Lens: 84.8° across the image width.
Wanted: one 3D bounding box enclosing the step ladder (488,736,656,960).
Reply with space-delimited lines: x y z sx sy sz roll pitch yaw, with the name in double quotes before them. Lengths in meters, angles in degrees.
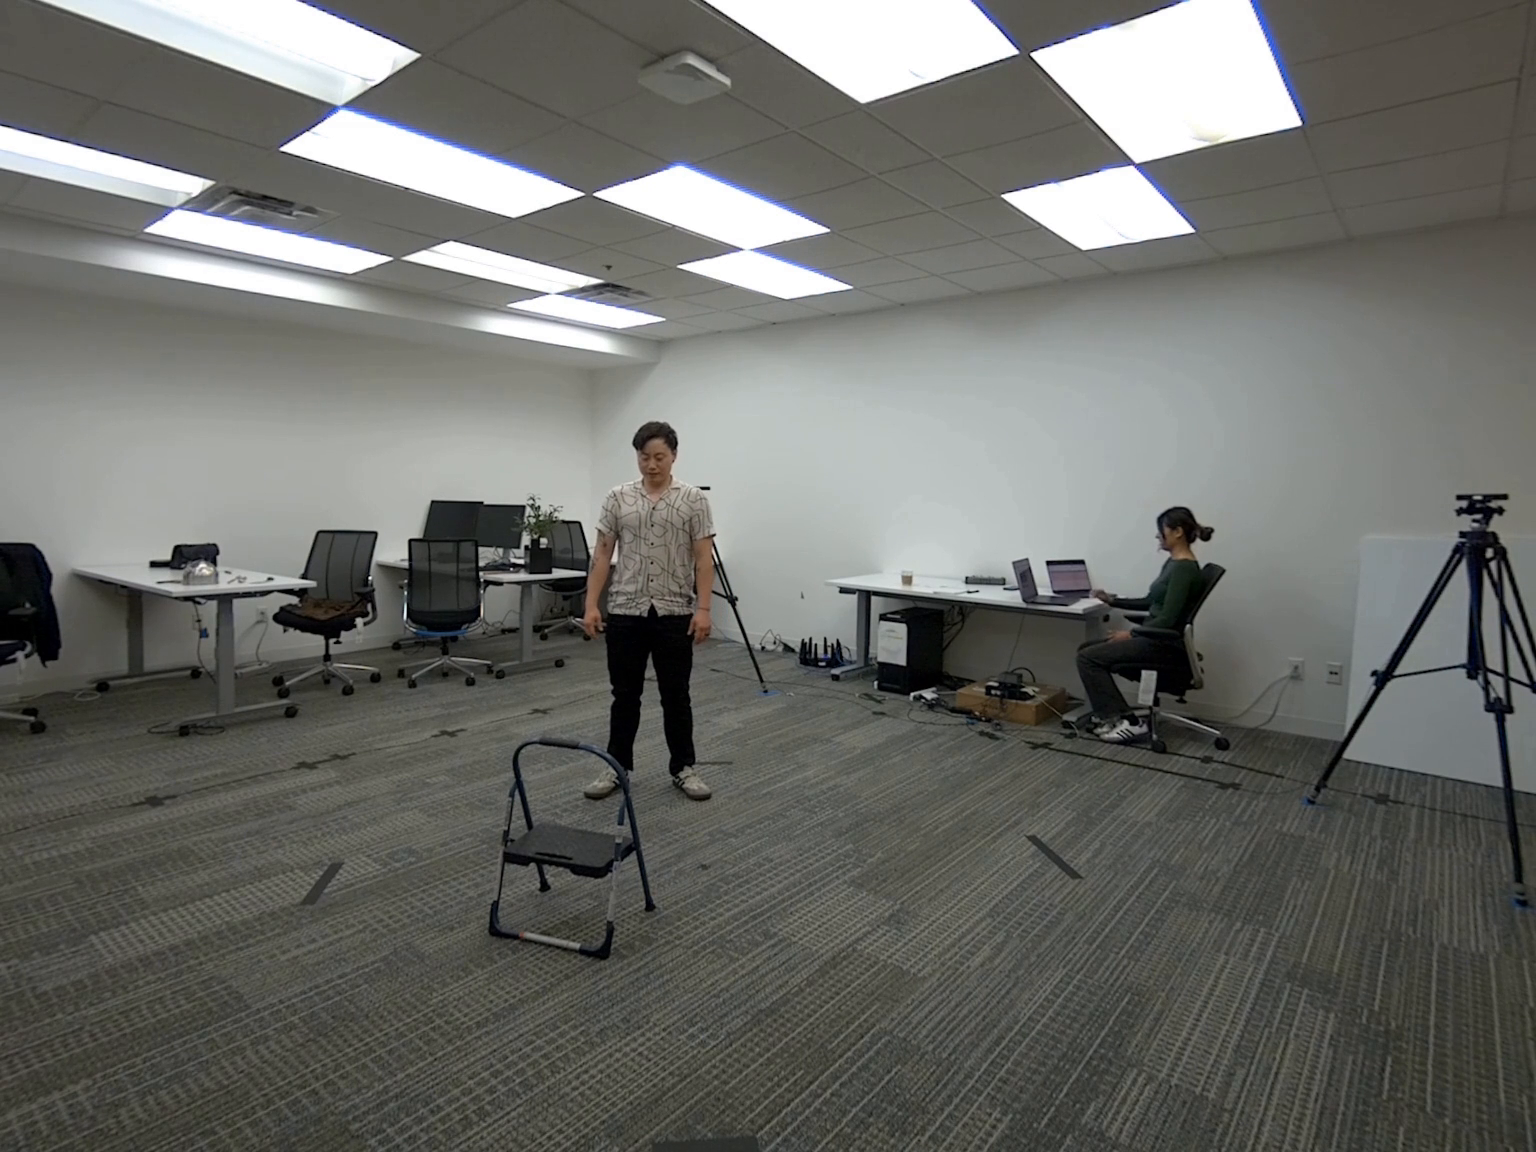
"step ladder" -0.632 0.796 2.701 0.439 0.604 0.344 1 4 18
